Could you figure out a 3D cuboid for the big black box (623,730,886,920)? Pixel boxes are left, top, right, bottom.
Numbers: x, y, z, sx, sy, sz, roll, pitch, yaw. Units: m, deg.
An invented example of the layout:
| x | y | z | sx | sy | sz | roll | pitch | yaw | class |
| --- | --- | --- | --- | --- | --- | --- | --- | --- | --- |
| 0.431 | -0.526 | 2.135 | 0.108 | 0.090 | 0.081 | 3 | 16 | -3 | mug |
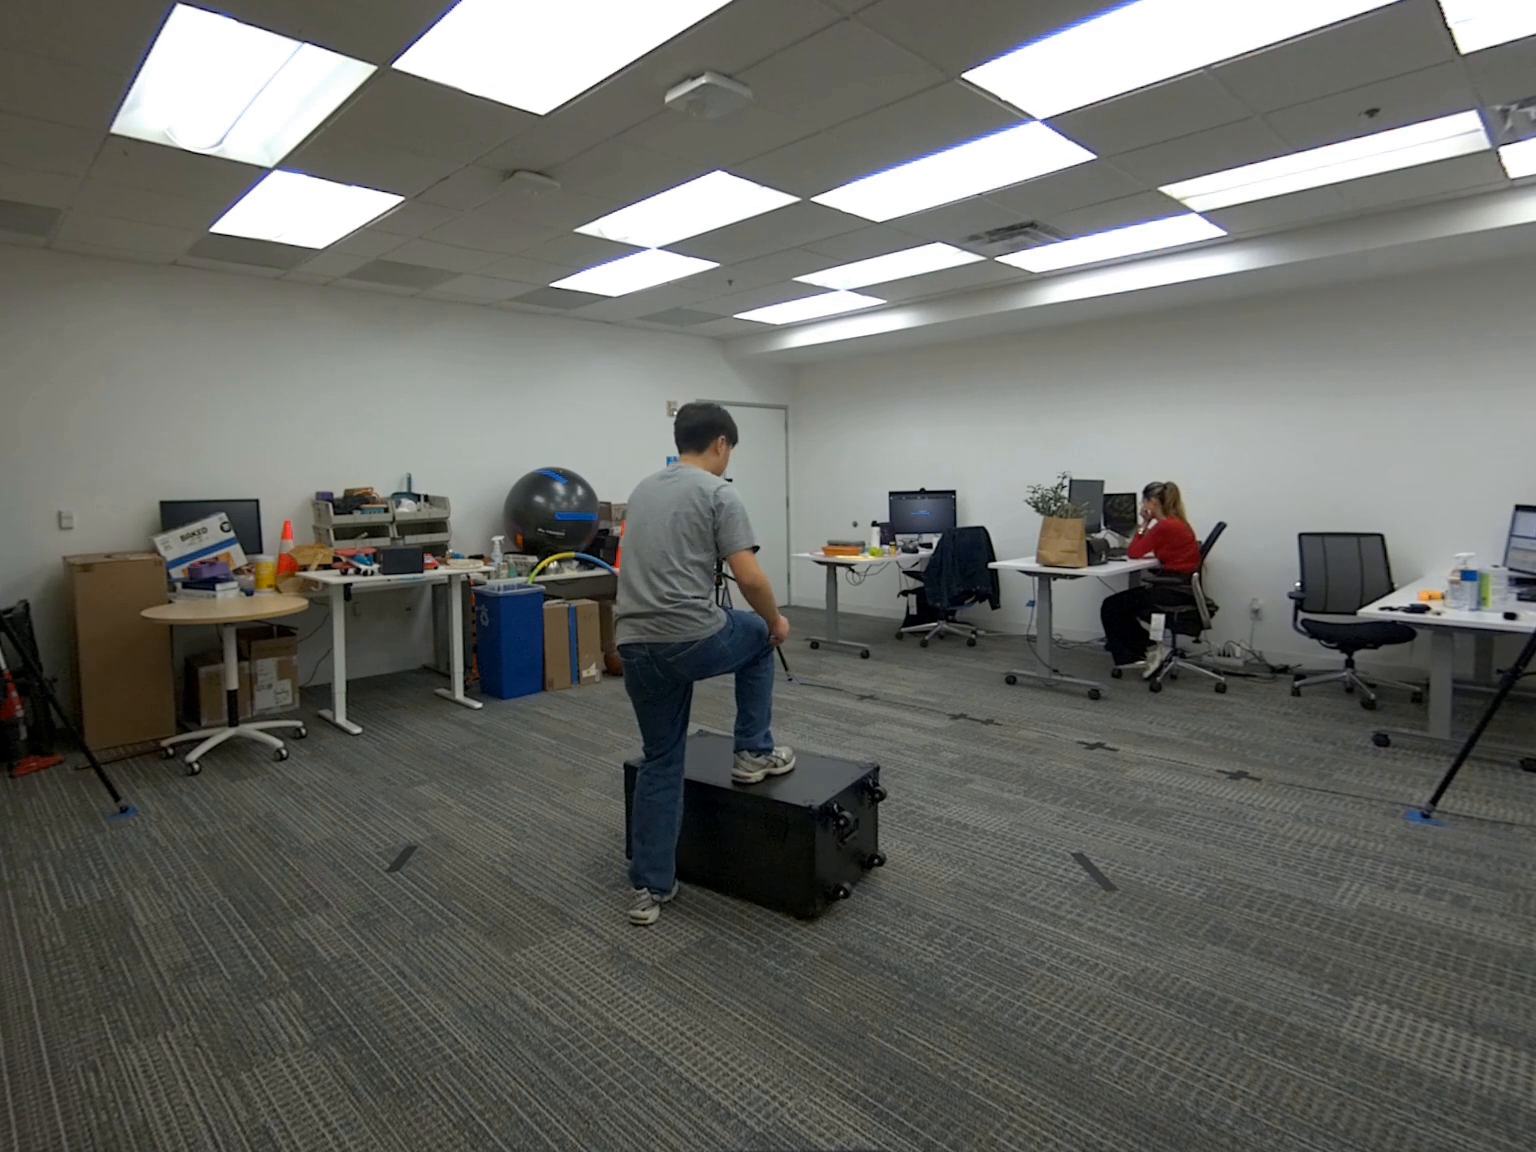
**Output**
| x | y | z | sx | sy | sz | roll | pitch | yaw | class |
| --- | --- | --- | --- | --- | --- | --- | --- | --- | --- |
| -0.033 | 0.860 | 3.052 | 0.885 | 0.394 | 0.509 | 3 | 7 | 33 | big black box |
